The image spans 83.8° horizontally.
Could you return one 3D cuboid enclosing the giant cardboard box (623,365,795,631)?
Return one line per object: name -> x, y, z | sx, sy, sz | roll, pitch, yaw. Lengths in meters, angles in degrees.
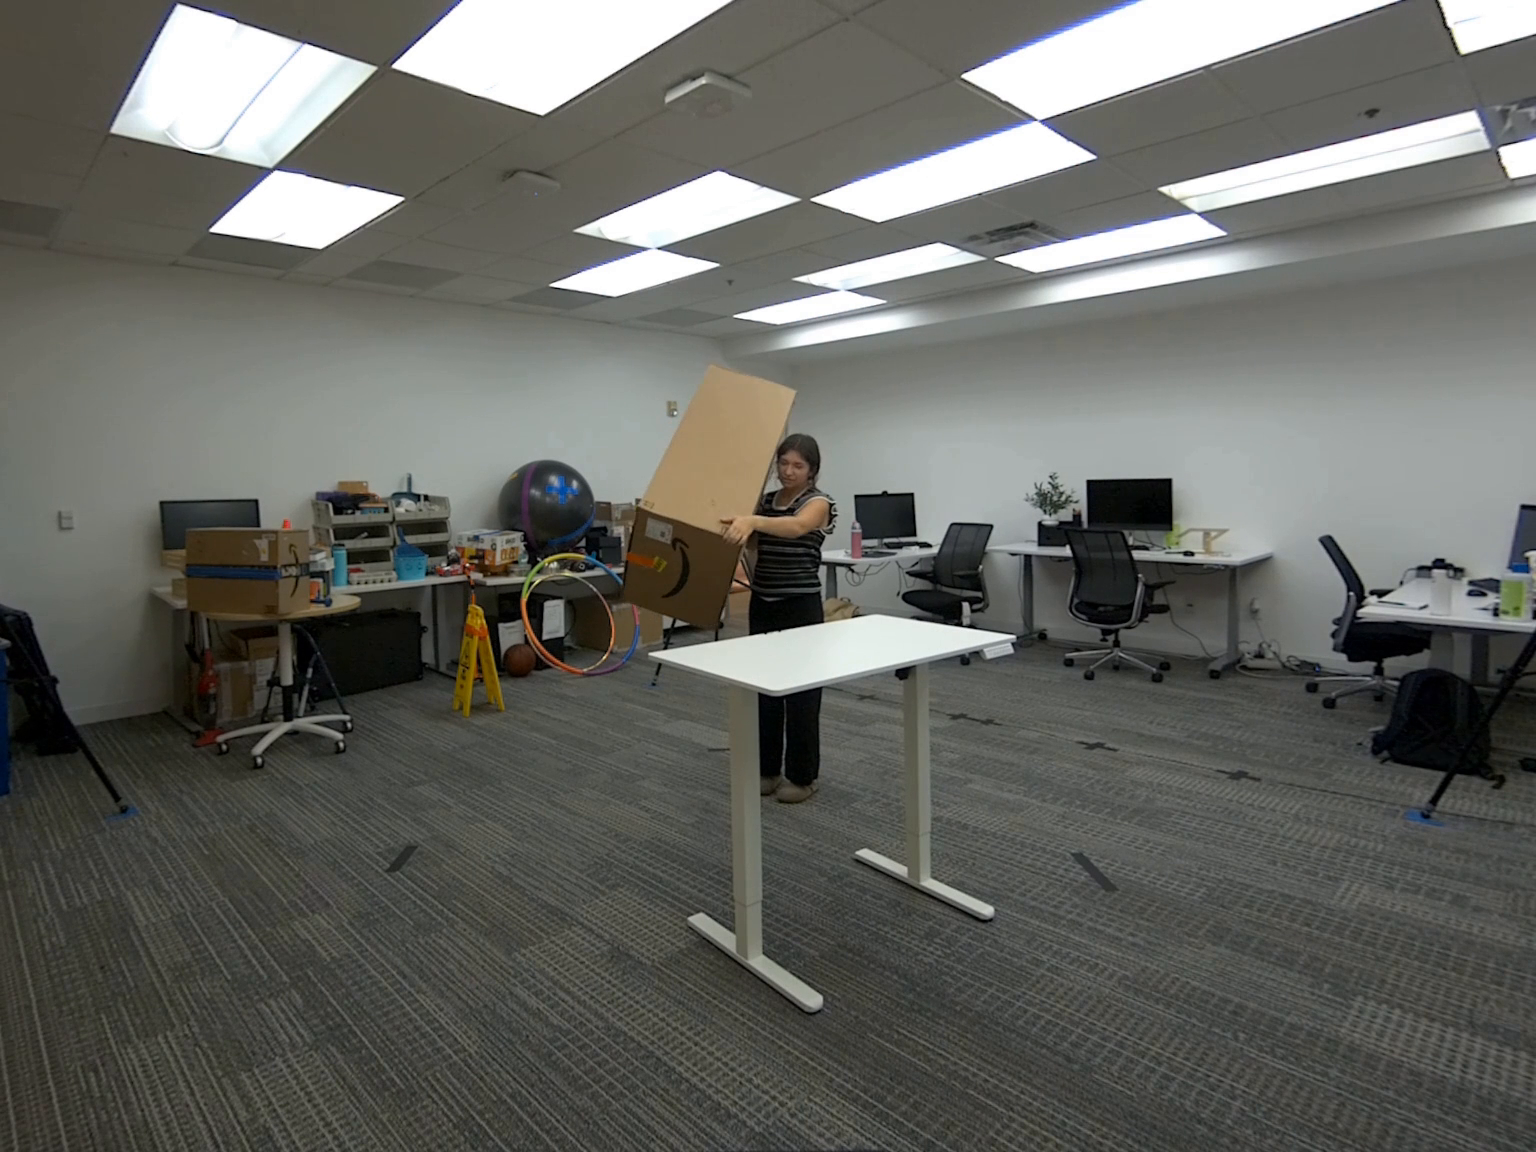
giant cardboard box -> -0.246, -0.369, 3.752 | 0.427, 0.567, 1.042 | 18, 47, 1
